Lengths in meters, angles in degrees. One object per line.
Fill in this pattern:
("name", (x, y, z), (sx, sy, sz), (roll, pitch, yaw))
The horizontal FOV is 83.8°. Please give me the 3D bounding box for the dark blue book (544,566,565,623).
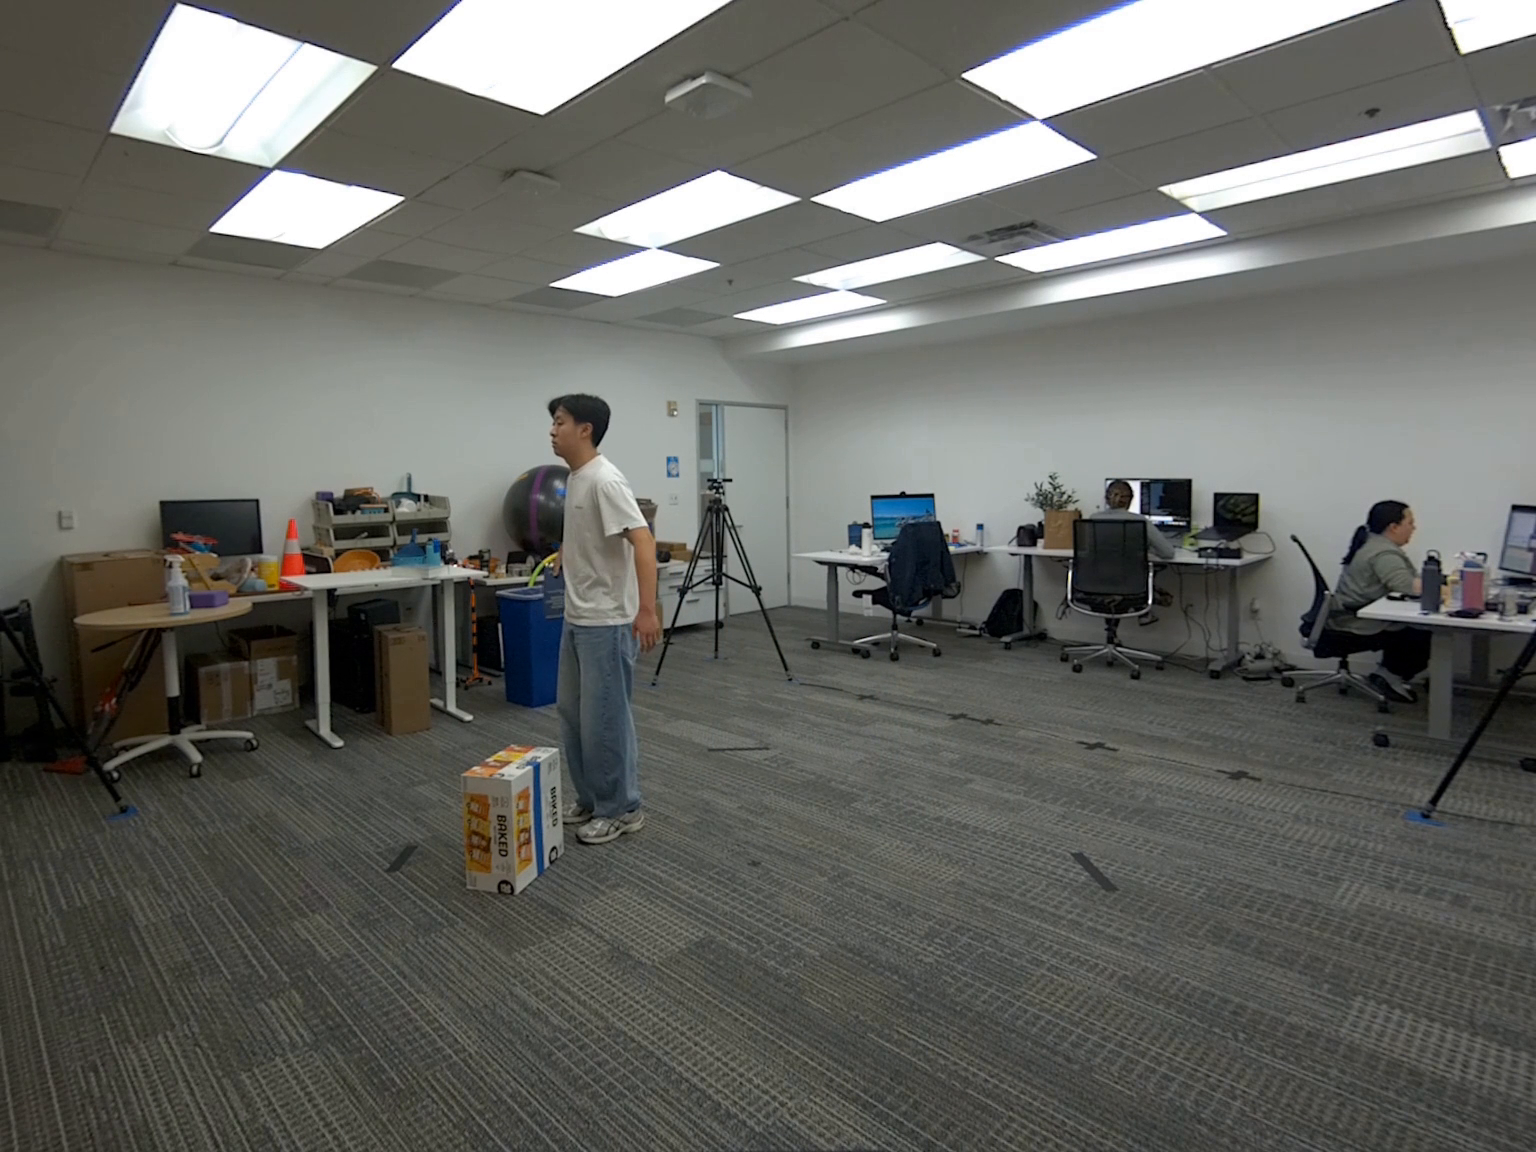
("dark blue book", (-0.918, 0.072, 3.852), (0.164, 0.251, 0.044), (-9, -27, 8))
